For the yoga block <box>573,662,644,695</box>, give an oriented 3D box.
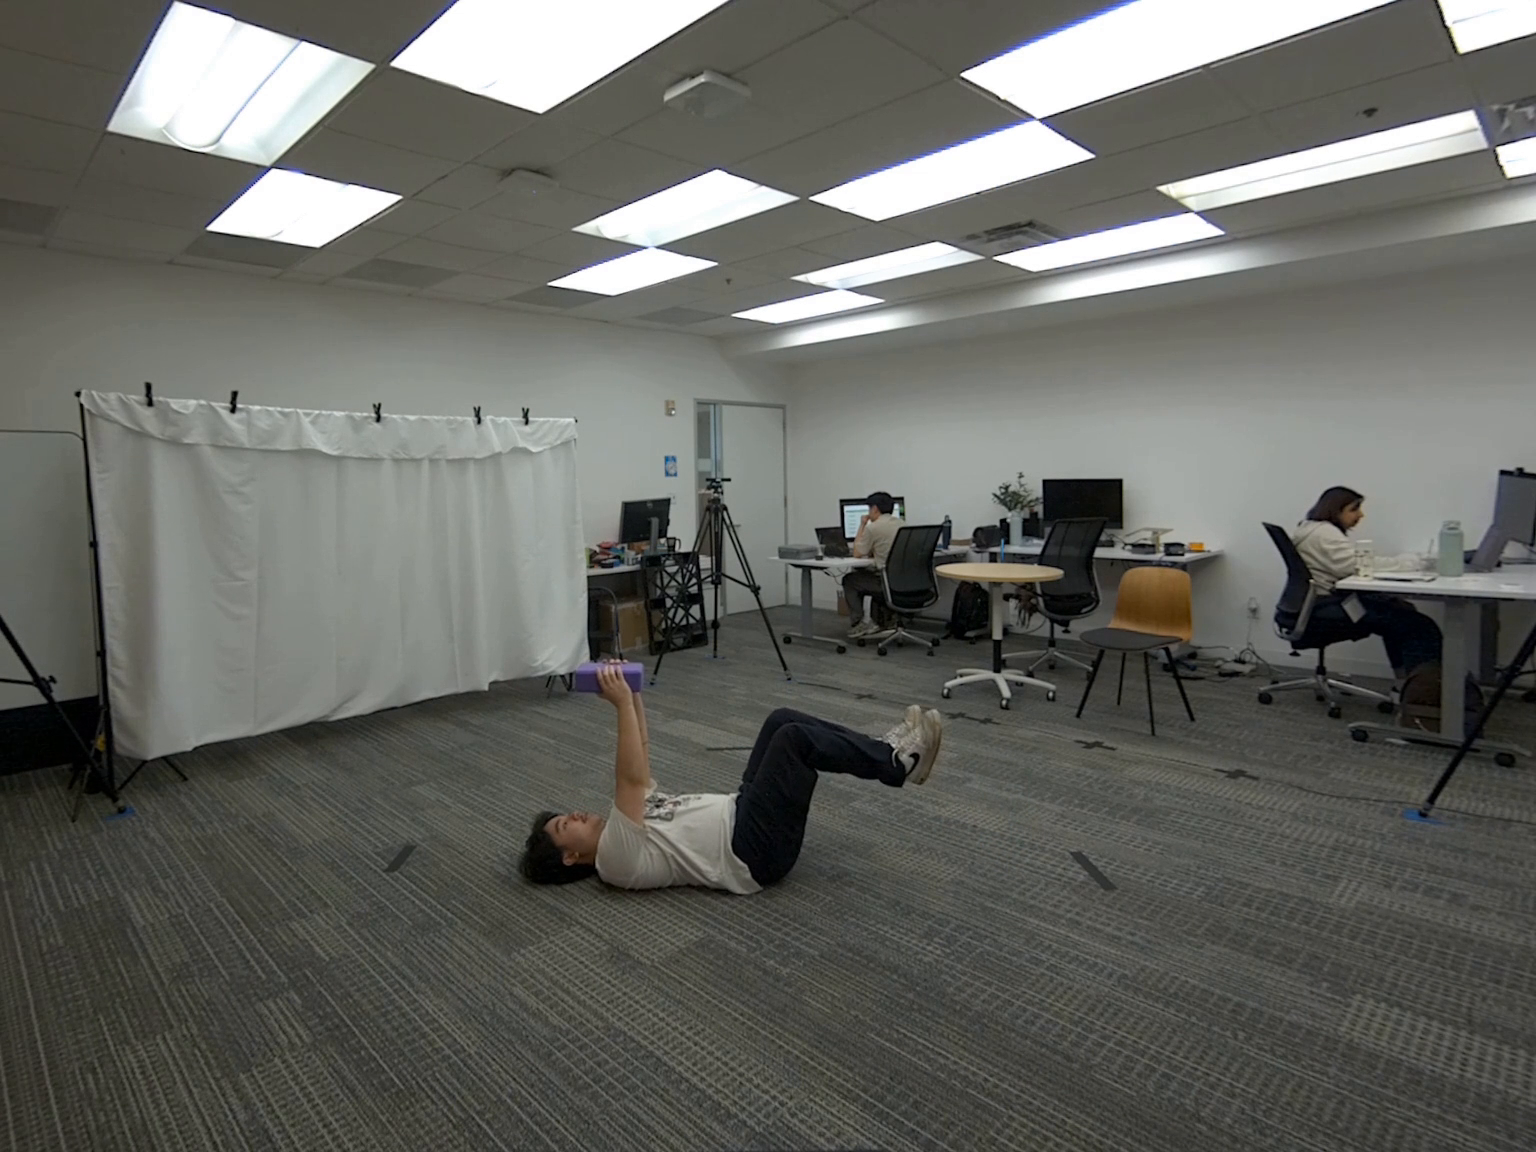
[{"bbox_3d":[-0.556,0.355,3.013,0.229,0.076,0.150,0,6,-1],"label":"yoga block"}]
